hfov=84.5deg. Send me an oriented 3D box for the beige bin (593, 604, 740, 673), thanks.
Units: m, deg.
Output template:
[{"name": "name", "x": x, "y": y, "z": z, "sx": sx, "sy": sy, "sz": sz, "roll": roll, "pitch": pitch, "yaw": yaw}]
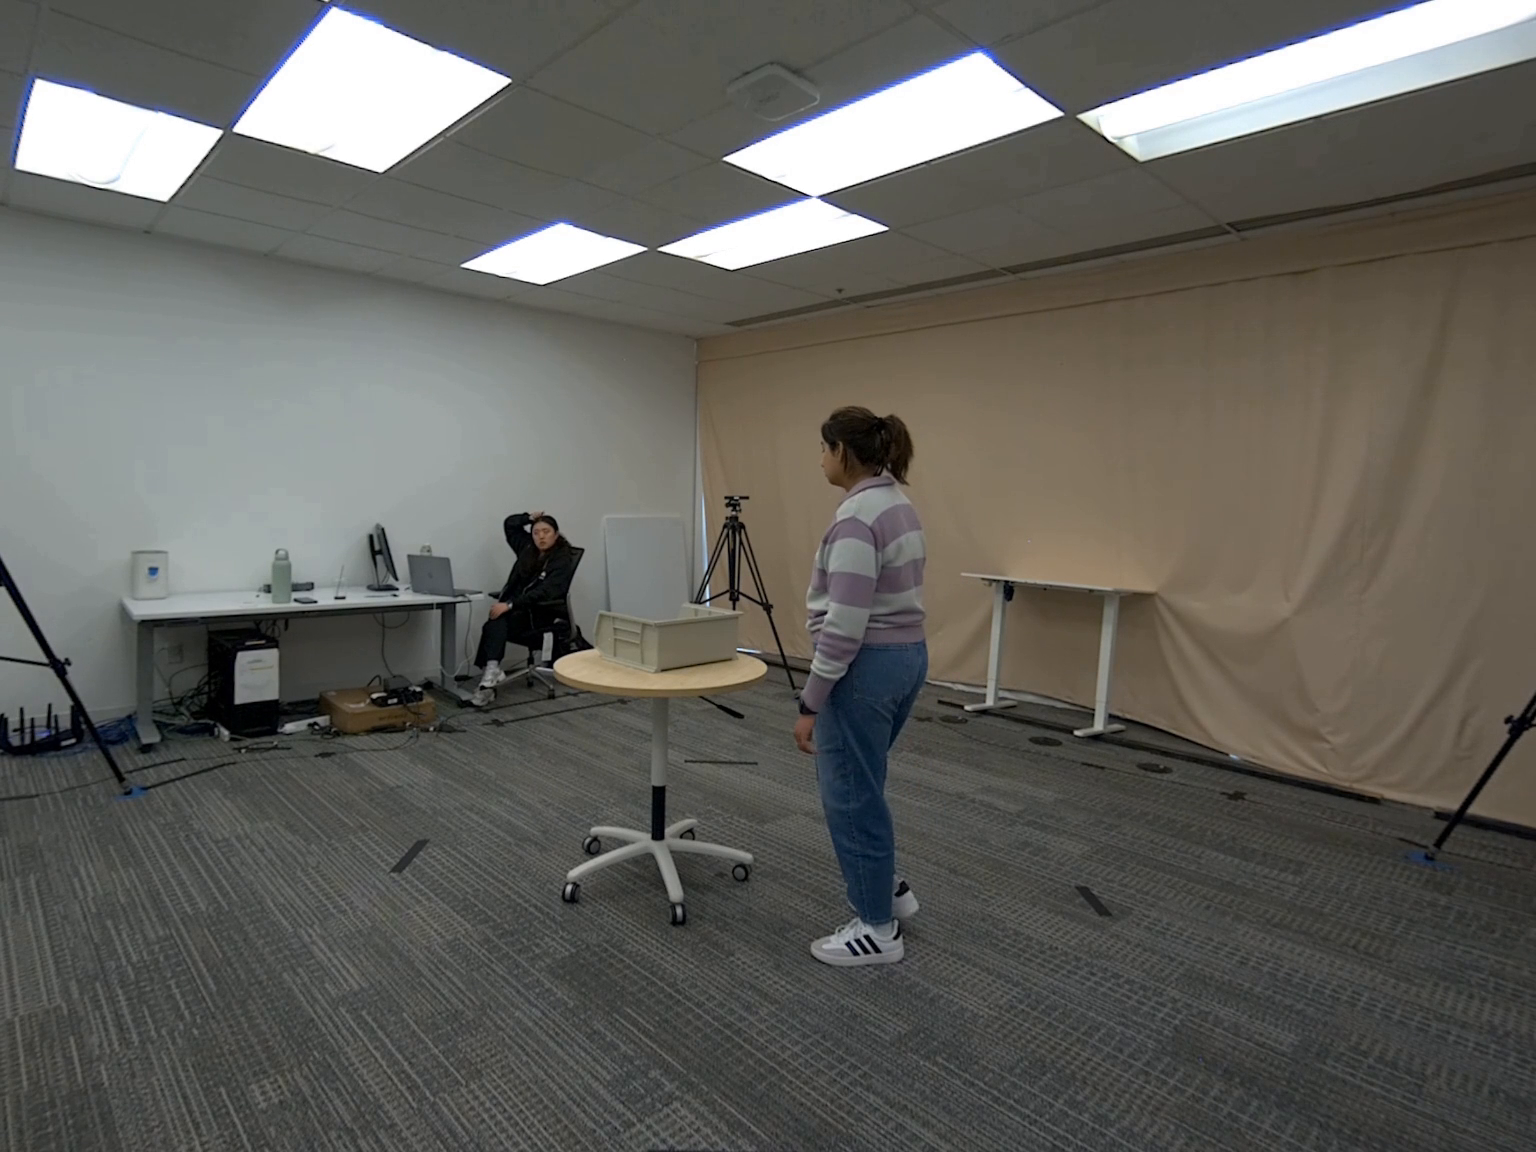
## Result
[{"name": "beige bin", "x": -0.382, "y": 0.223, "z": 3.144, "sx": 0.413, "sy": 0.188, "sz": 0.387, "roll": -3, "pitch": 8, "yaw": -44}]
